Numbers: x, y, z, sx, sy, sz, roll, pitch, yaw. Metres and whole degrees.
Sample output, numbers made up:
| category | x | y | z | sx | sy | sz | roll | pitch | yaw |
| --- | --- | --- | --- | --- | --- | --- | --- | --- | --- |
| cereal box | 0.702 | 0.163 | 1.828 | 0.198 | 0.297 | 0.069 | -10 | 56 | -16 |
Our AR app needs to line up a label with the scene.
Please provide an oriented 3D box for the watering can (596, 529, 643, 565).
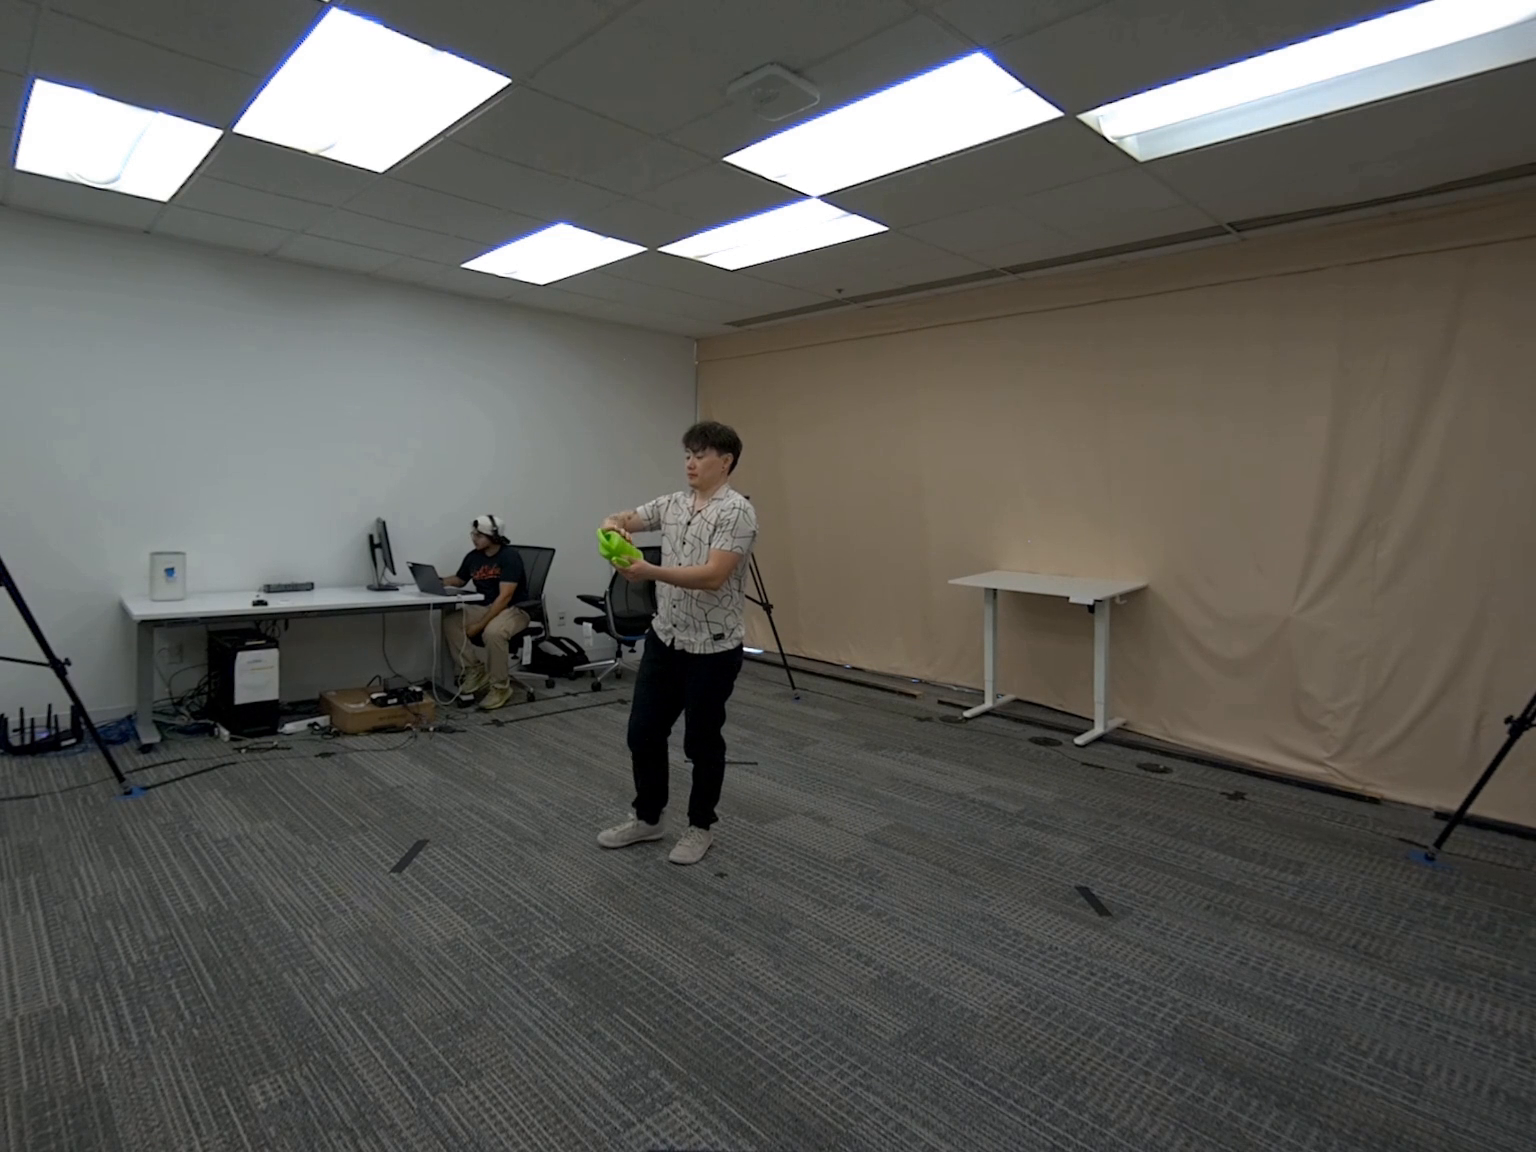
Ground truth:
| category | x | y | z | sx | sy | sz | roll | pitch | yaw |
| --- | --- | --- | --- | --- | --- | --- | --- | --- | --- |
| watering can | -0.526 | -0.057 | 2.916 | 0.171 | 0.098 | 0.286 | 38 | 20 | -36 |
